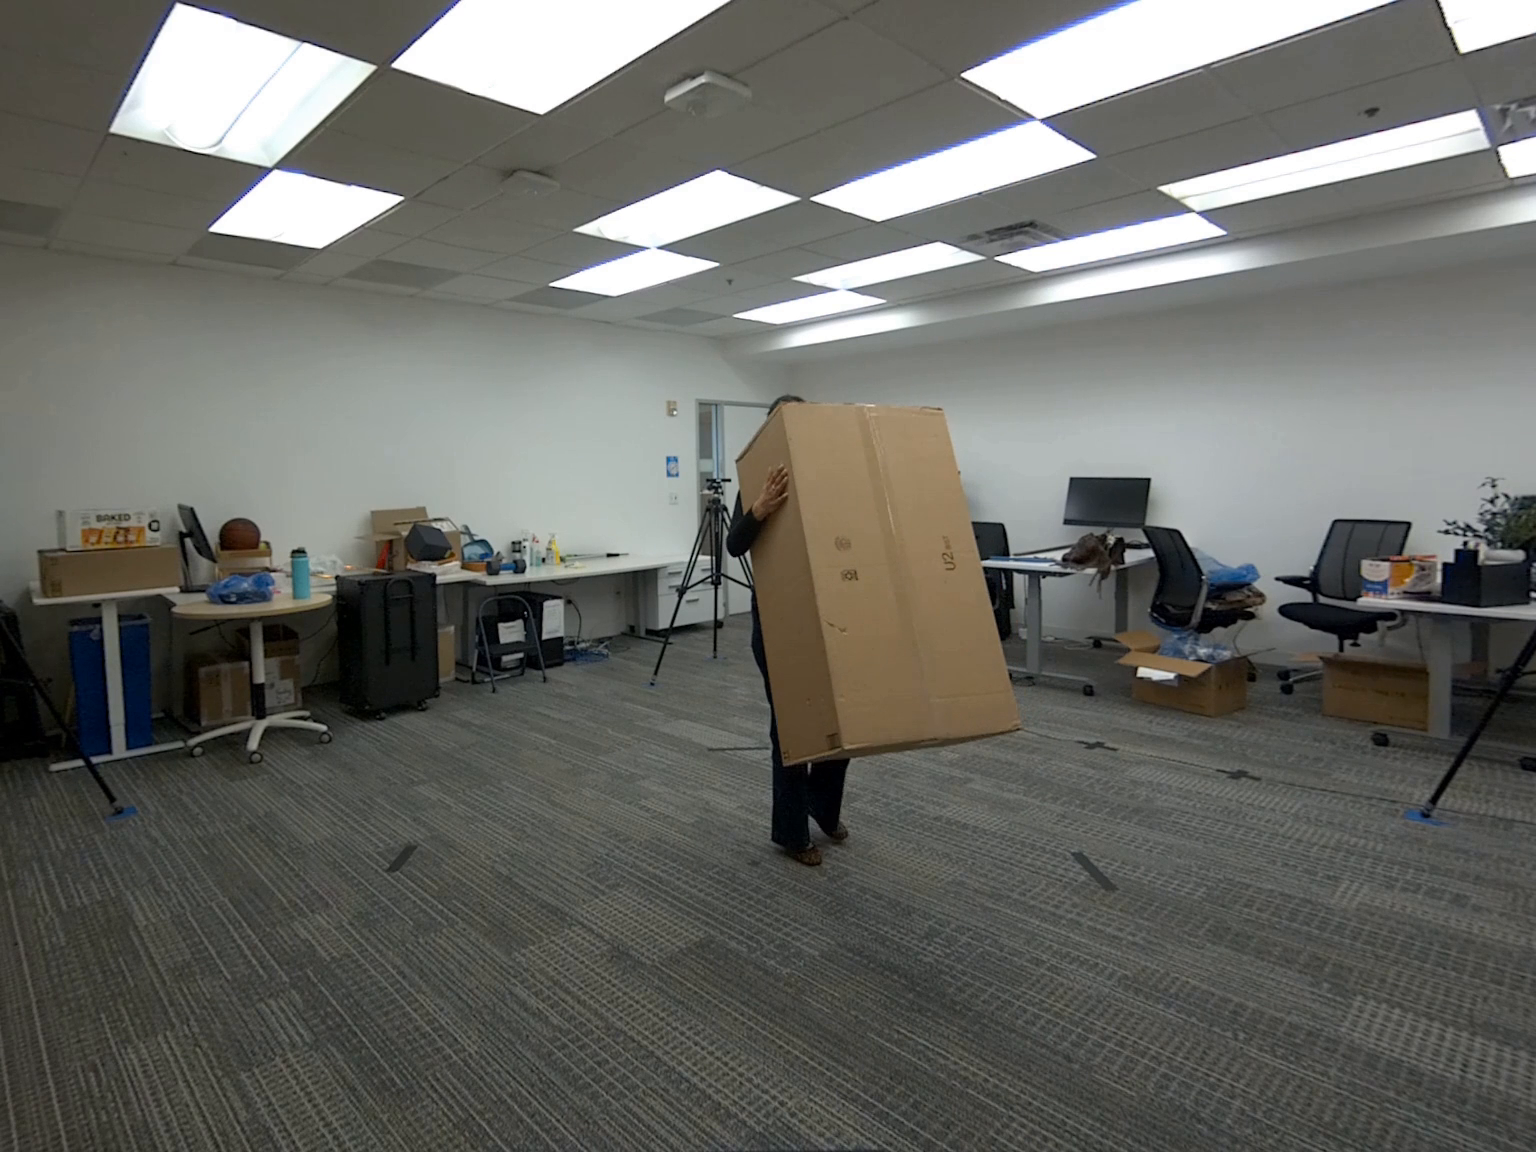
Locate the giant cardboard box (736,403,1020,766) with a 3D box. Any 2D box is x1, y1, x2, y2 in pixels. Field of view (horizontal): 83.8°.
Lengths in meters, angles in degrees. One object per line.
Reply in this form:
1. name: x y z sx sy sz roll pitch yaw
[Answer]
1. giant cardboard box: 0.308 0.022 2.668 0.566 1.045 0.426 -2 -19 -22
